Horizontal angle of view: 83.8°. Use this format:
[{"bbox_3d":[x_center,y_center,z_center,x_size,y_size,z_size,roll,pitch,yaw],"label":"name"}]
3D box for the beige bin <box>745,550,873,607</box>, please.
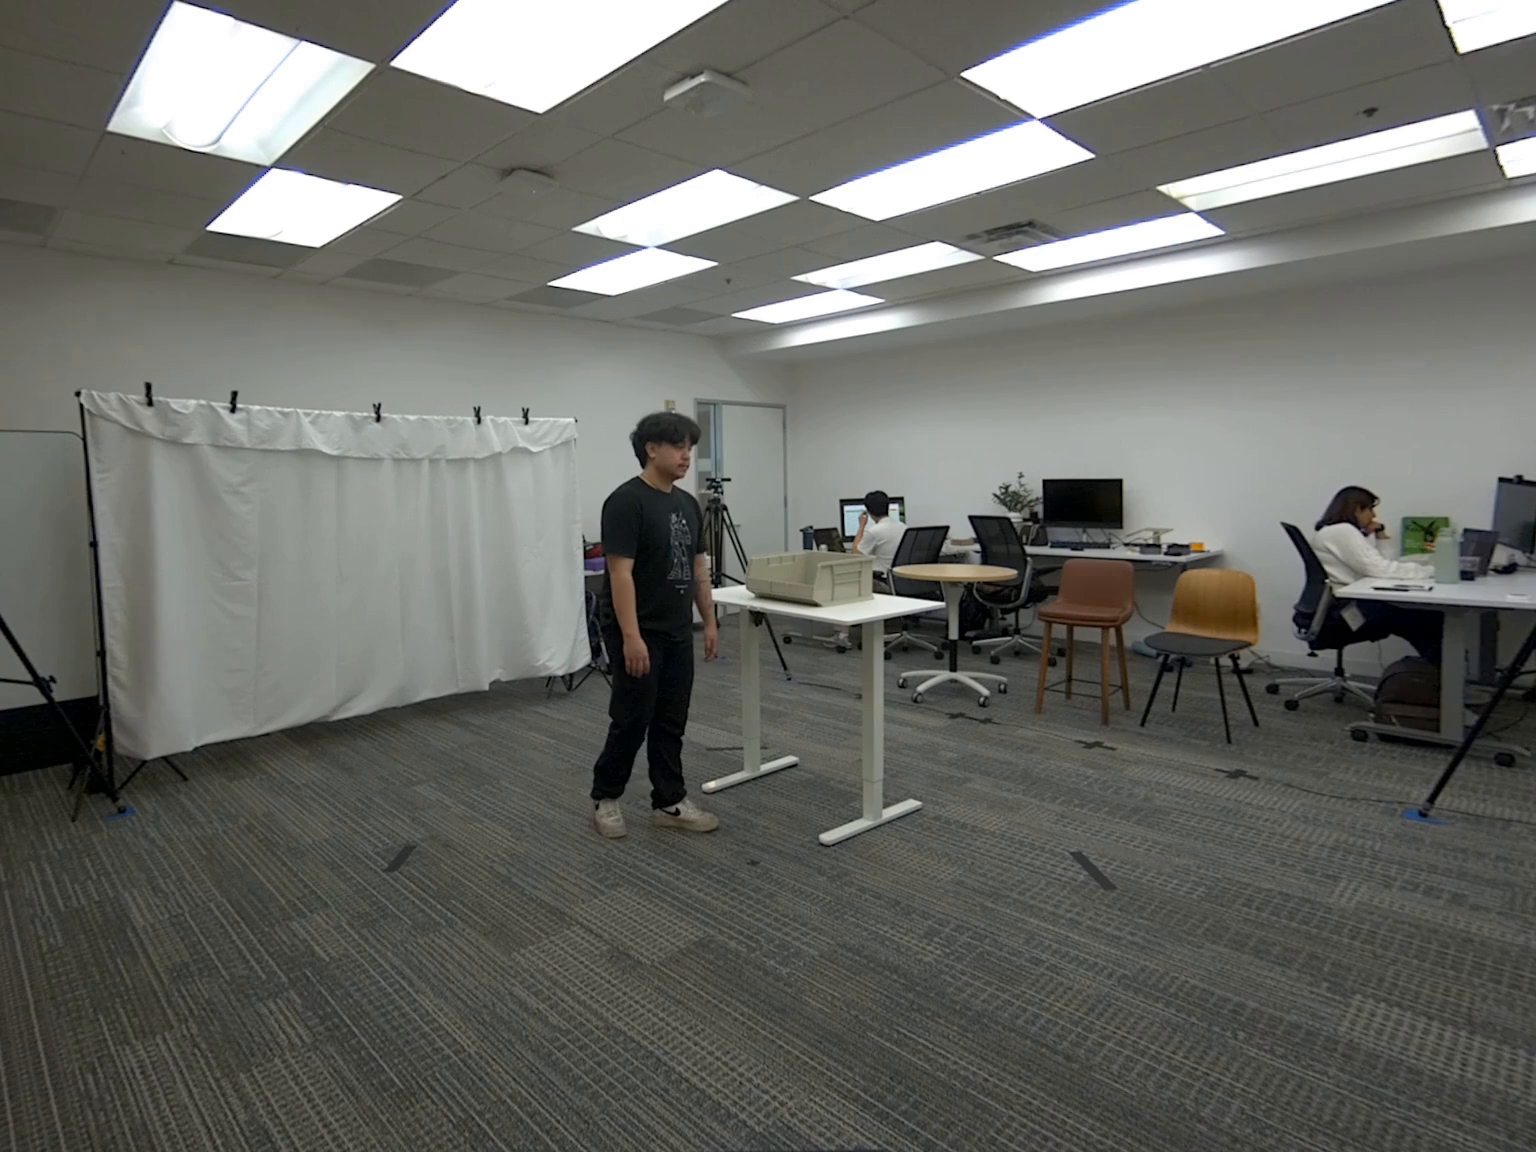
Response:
[{"bbox_3d":[0.175,0.006,3.620,0.367,0.188,0.435,-5,7,-40],"label":"beige bin"}]
